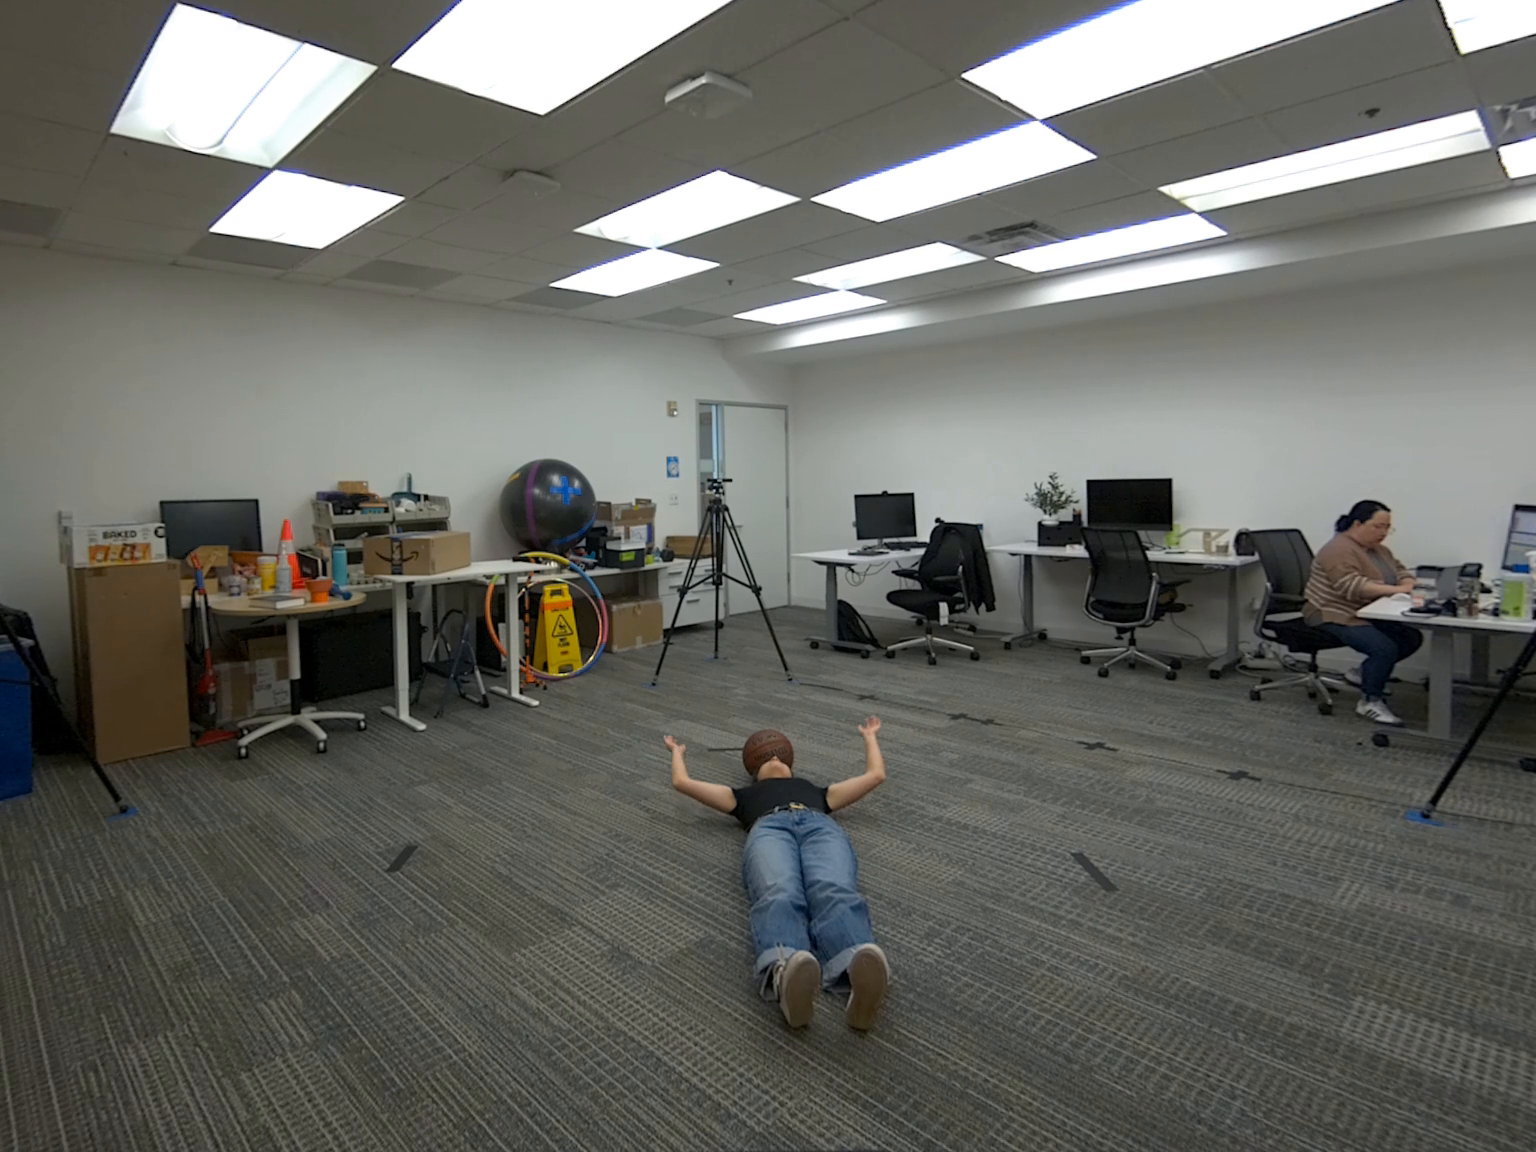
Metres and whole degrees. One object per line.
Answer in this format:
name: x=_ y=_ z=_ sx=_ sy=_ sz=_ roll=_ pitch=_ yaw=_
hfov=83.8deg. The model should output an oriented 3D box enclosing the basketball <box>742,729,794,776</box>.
basketball: x=-0.004 y=0.828 z=3.951 sx=0.236 sy=0.235 sz=0.237 roll=-1 pitch=5 yaw=-2
